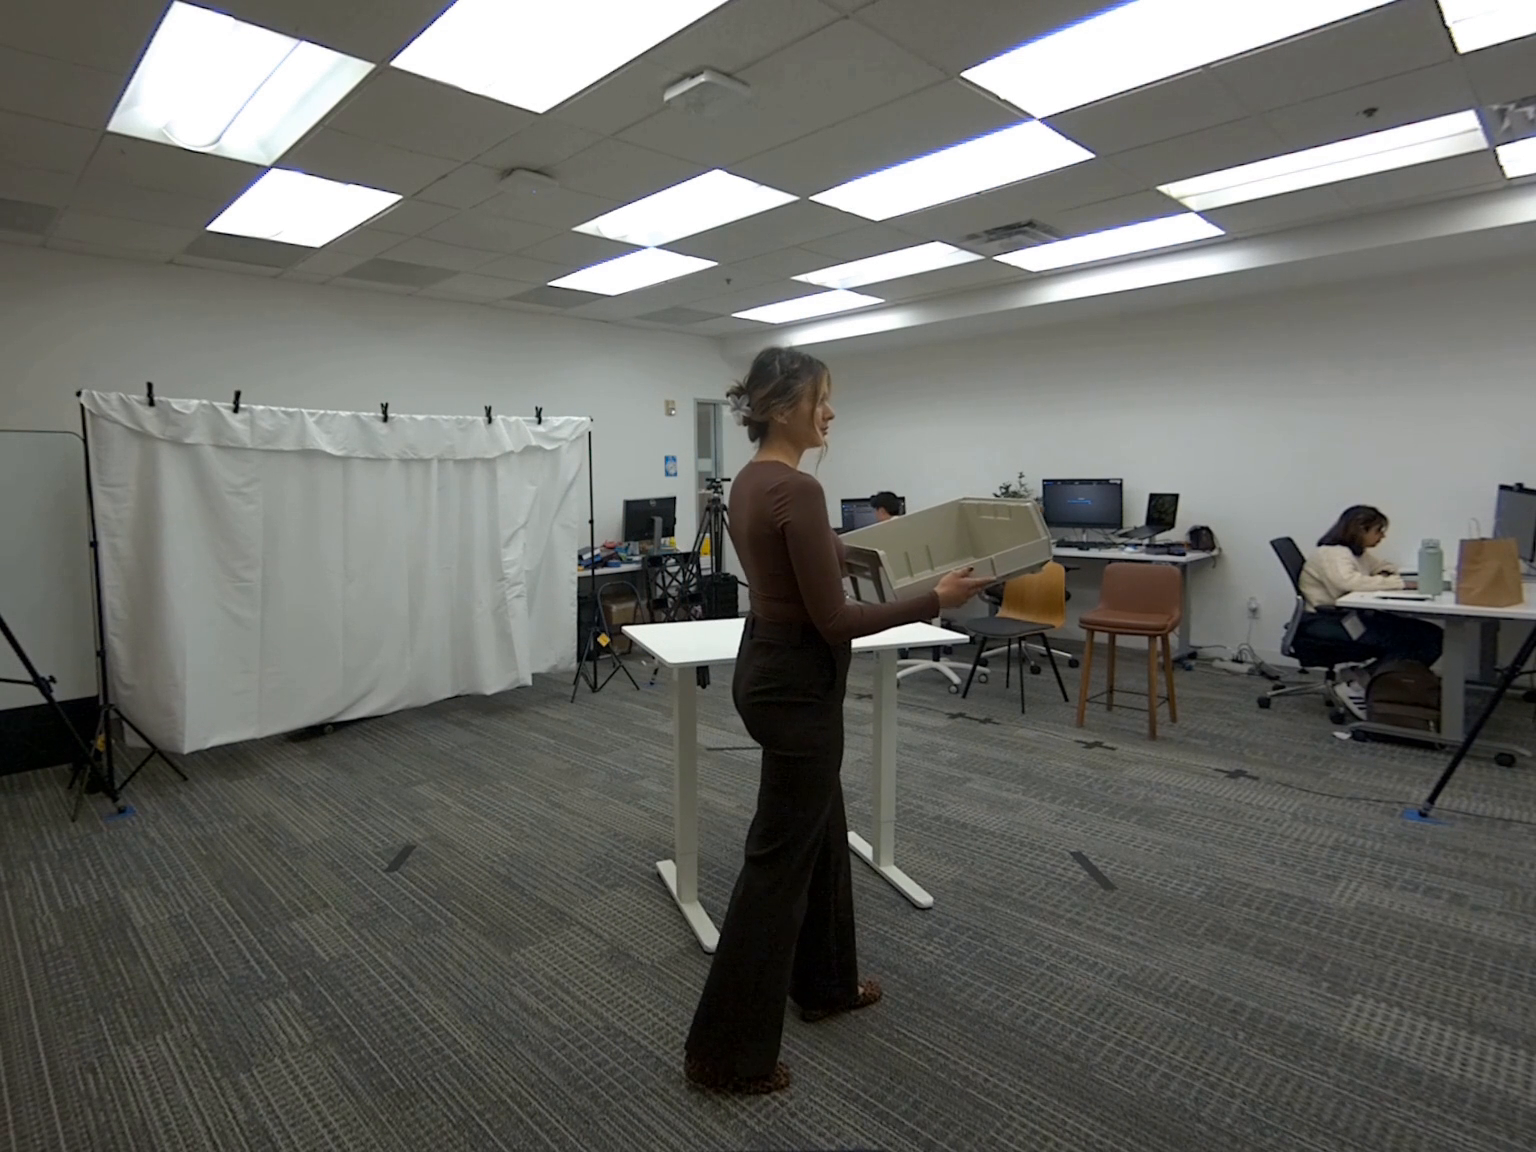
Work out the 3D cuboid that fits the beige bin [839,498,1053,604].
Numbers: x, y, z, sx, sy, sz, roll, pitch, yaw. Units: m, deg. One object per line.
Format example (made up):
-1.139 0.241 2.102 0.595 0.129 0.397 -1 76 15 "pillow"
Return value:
0.422 -0.054 2.147 0.419 0.187 0.383 -18 8 -11 "beige bin"
